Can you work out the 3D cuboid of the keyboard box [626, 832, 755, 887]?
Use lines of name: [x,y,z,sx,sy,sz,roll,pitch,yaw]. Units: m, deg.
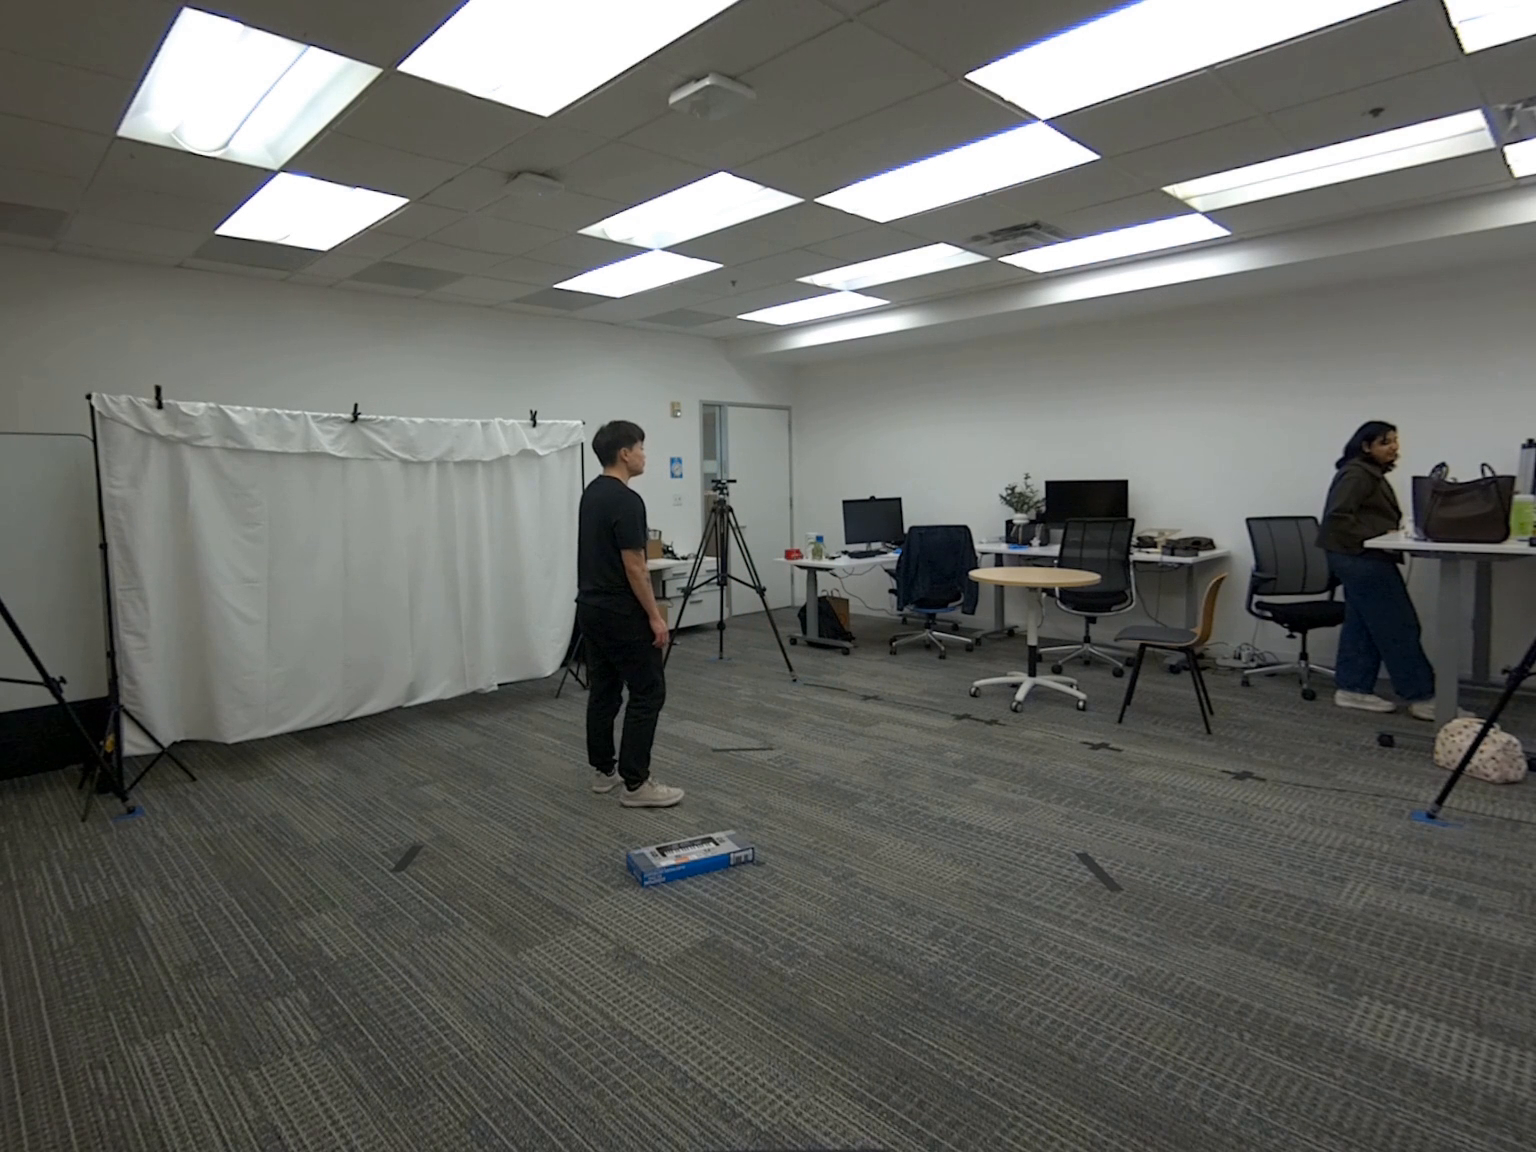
keyboard box: [-0.276,1.020,3.103,0.427,0.059,0.181,-4,8,-26]
